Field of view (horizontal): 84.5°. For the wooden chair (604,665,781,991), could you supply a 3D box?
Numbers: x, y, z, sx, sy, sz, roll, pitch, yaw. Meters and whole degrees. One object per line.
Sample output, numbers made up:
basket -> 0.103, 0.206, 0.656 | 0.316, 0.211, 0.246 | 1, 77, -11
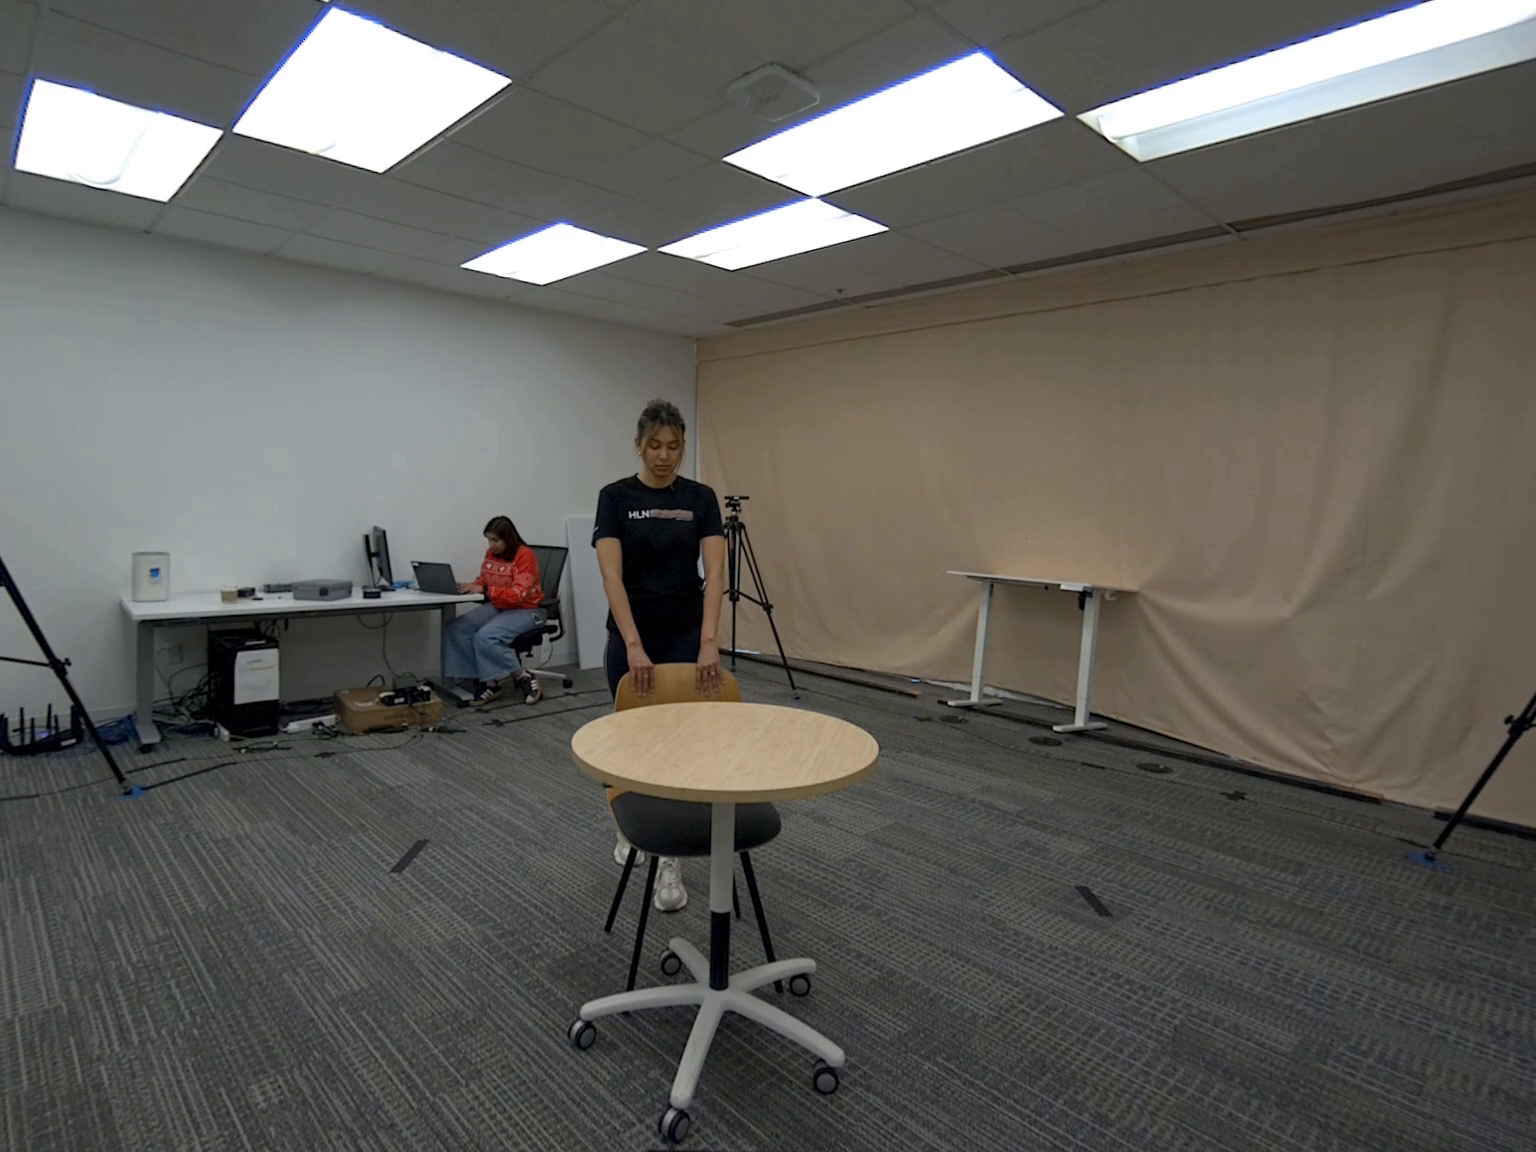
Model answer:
wooden chair -> -0.233, 0.733, 2.489 | 0.472, 0.878, 0.529 | 0, -1, -16
